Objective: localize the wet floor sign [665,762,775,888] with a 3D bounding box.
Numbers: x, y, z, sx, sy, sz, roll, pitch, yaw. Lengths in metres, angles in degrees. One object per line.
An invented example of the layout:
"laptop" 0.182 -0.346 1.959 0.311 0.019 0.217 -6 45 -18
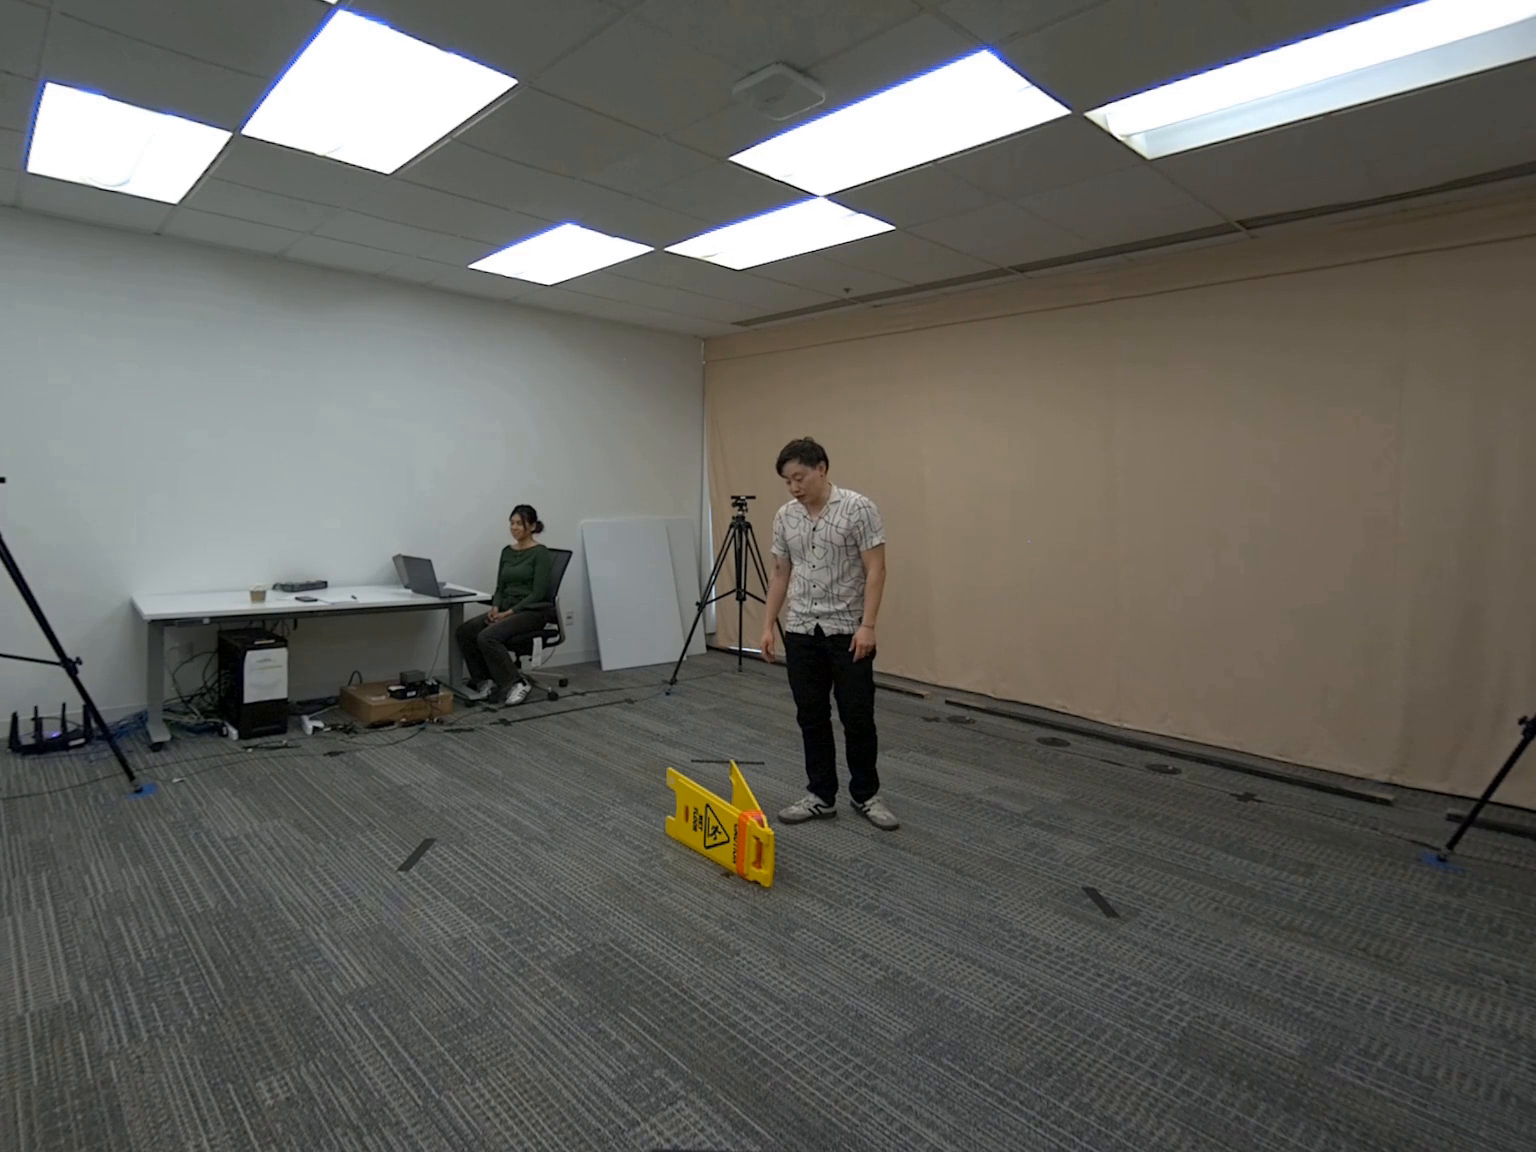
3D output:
"wet floor sign" -0.144 0.958 3.239 0.284 0.281 0.661 -1 7 -28
